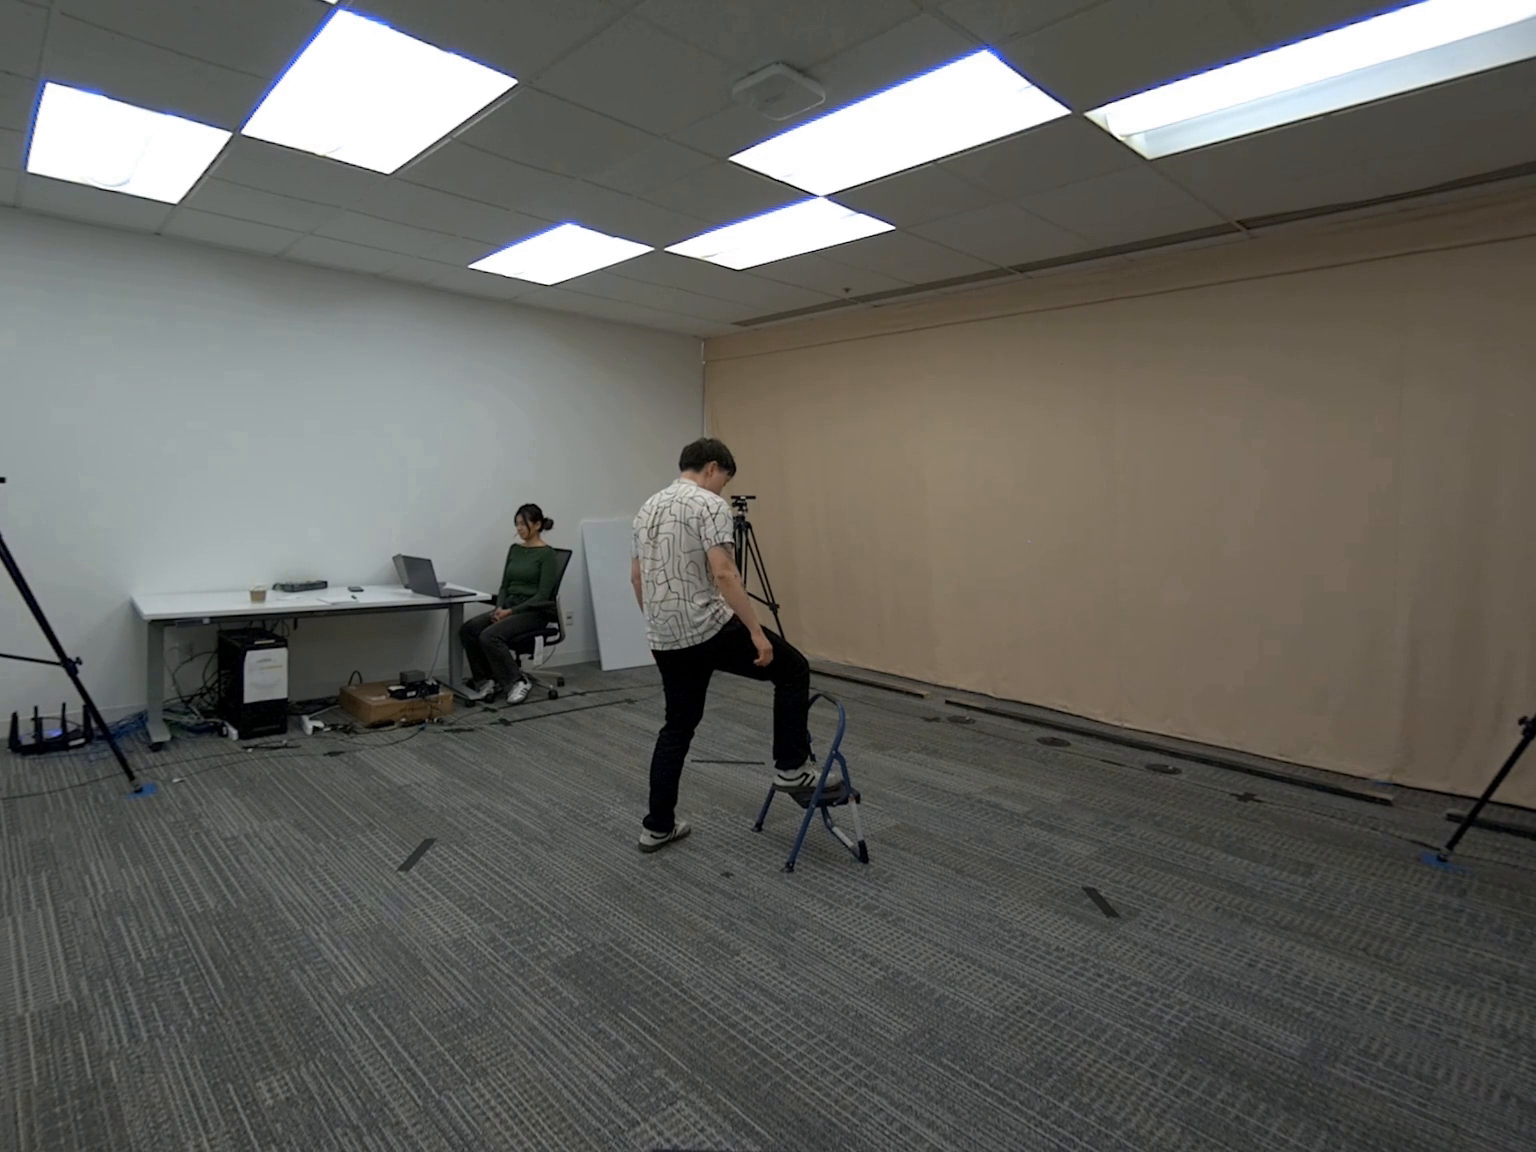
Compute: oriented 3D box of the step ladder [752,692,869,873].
[{"bbox_3d":[0.164,0.783,3.361,0.344,0.605,0.437,1,3,-18],"label":"step ladder"}]
